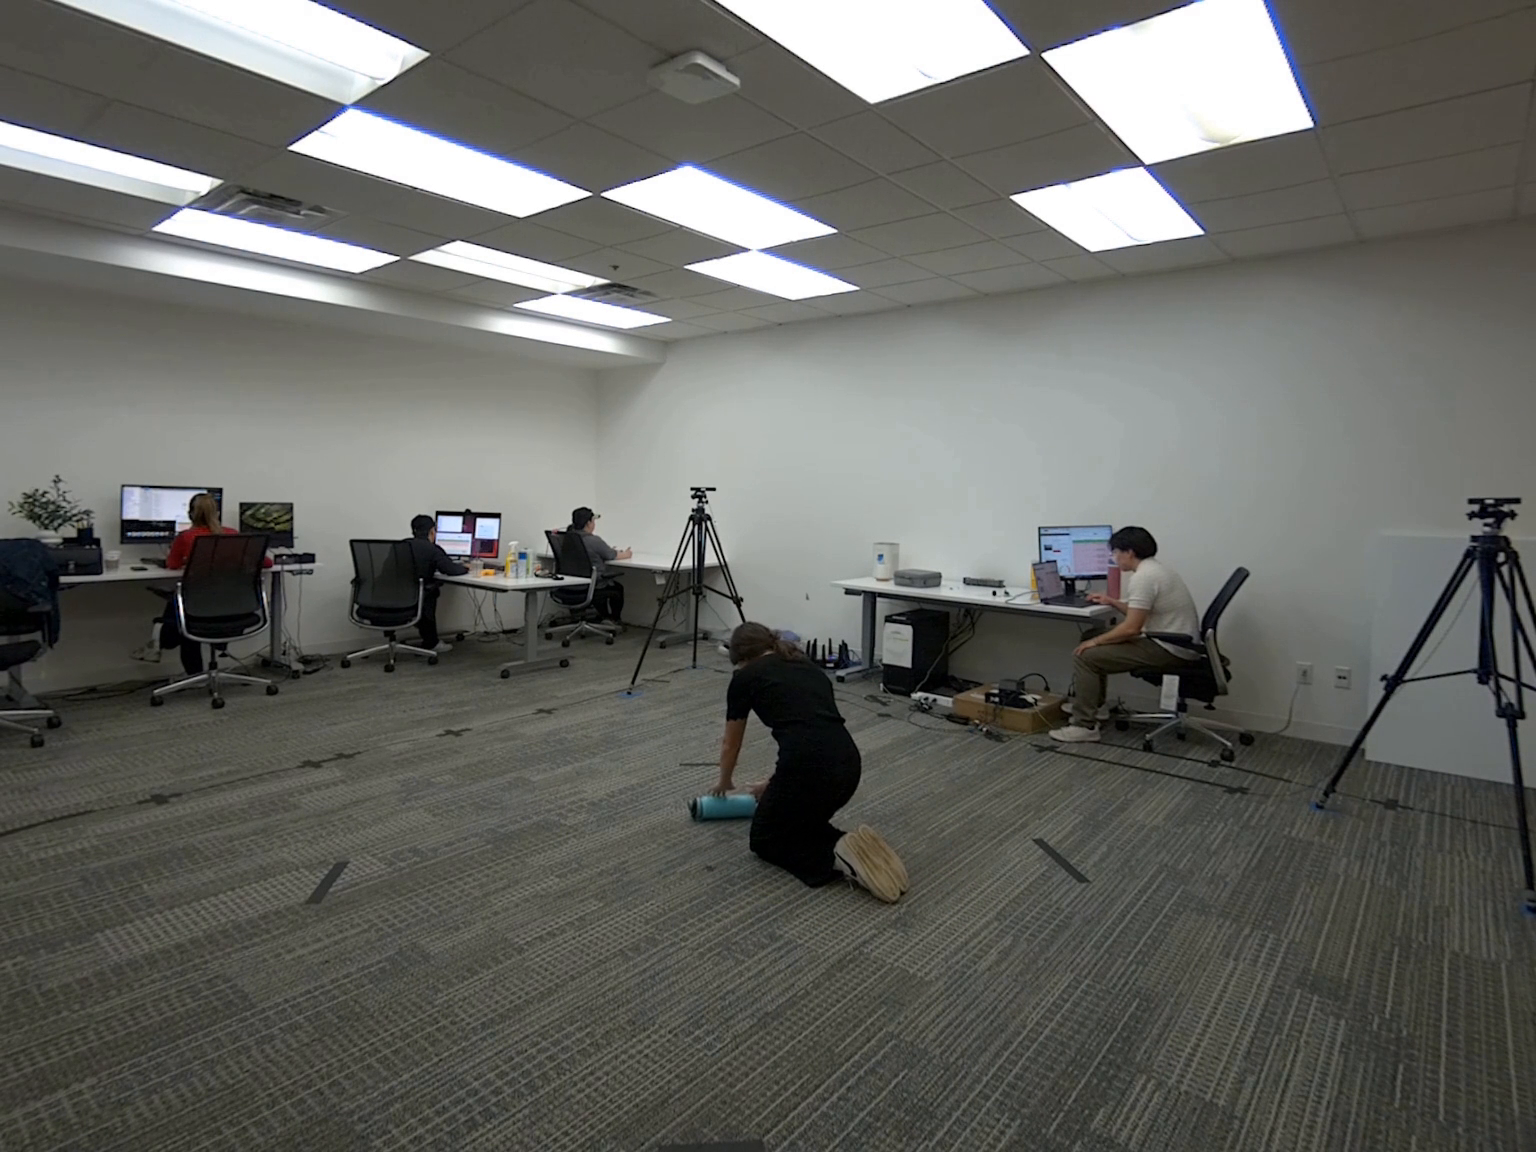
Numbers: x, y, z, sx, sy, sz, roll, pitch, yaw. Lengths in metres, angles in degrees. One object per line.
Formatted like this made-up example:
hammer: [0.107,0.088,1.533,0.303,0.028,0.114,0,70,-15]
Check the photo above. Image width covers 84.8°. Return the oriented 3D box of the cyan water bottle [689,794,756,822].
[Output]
cyan water bottle: [-0.206,0.971,3.585,0.280,0.092,0.093,-2,4,-10]
